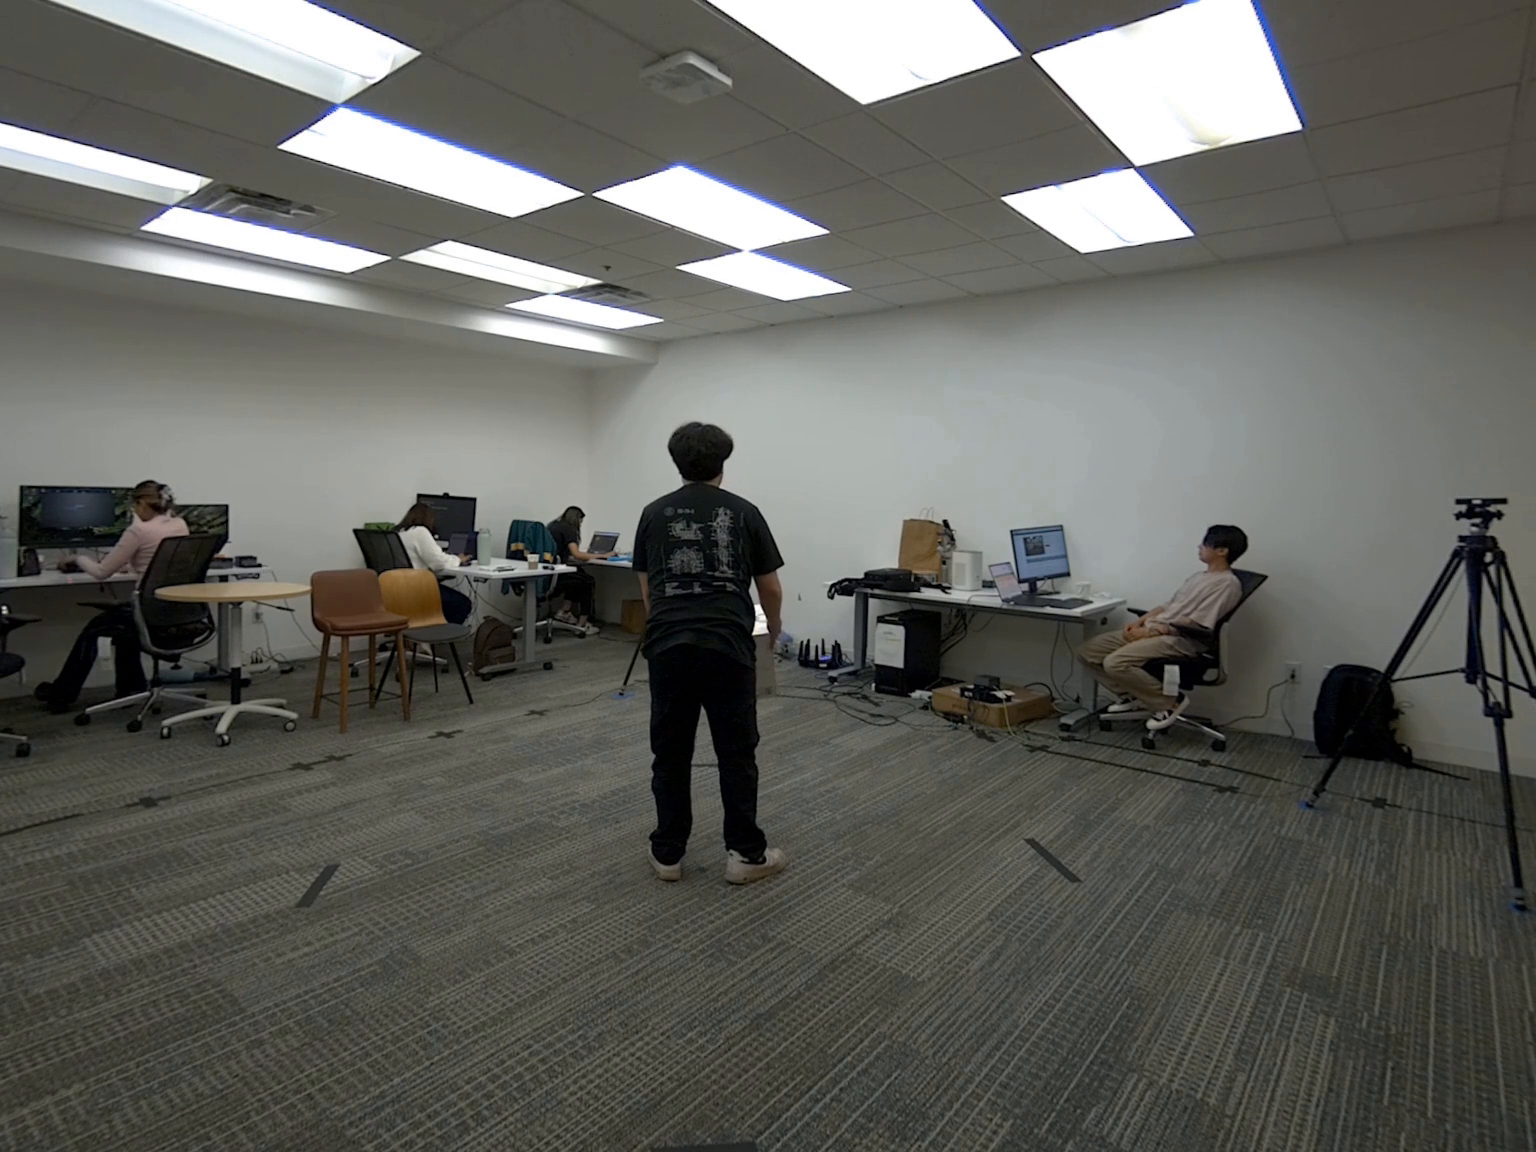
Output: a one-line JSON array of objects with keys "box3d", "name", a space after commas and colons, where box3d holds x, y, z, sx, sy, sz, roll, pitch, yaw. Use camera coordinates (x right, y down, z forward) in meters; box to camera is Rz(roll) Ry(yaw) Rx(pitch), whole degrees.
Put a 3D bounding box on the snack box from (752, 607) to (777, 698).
[{"box3d": [-0.196, 0.337, 3.544, 0.404, 0.331, 0.212, -8, 30, -3], "name": "snack box"}]
